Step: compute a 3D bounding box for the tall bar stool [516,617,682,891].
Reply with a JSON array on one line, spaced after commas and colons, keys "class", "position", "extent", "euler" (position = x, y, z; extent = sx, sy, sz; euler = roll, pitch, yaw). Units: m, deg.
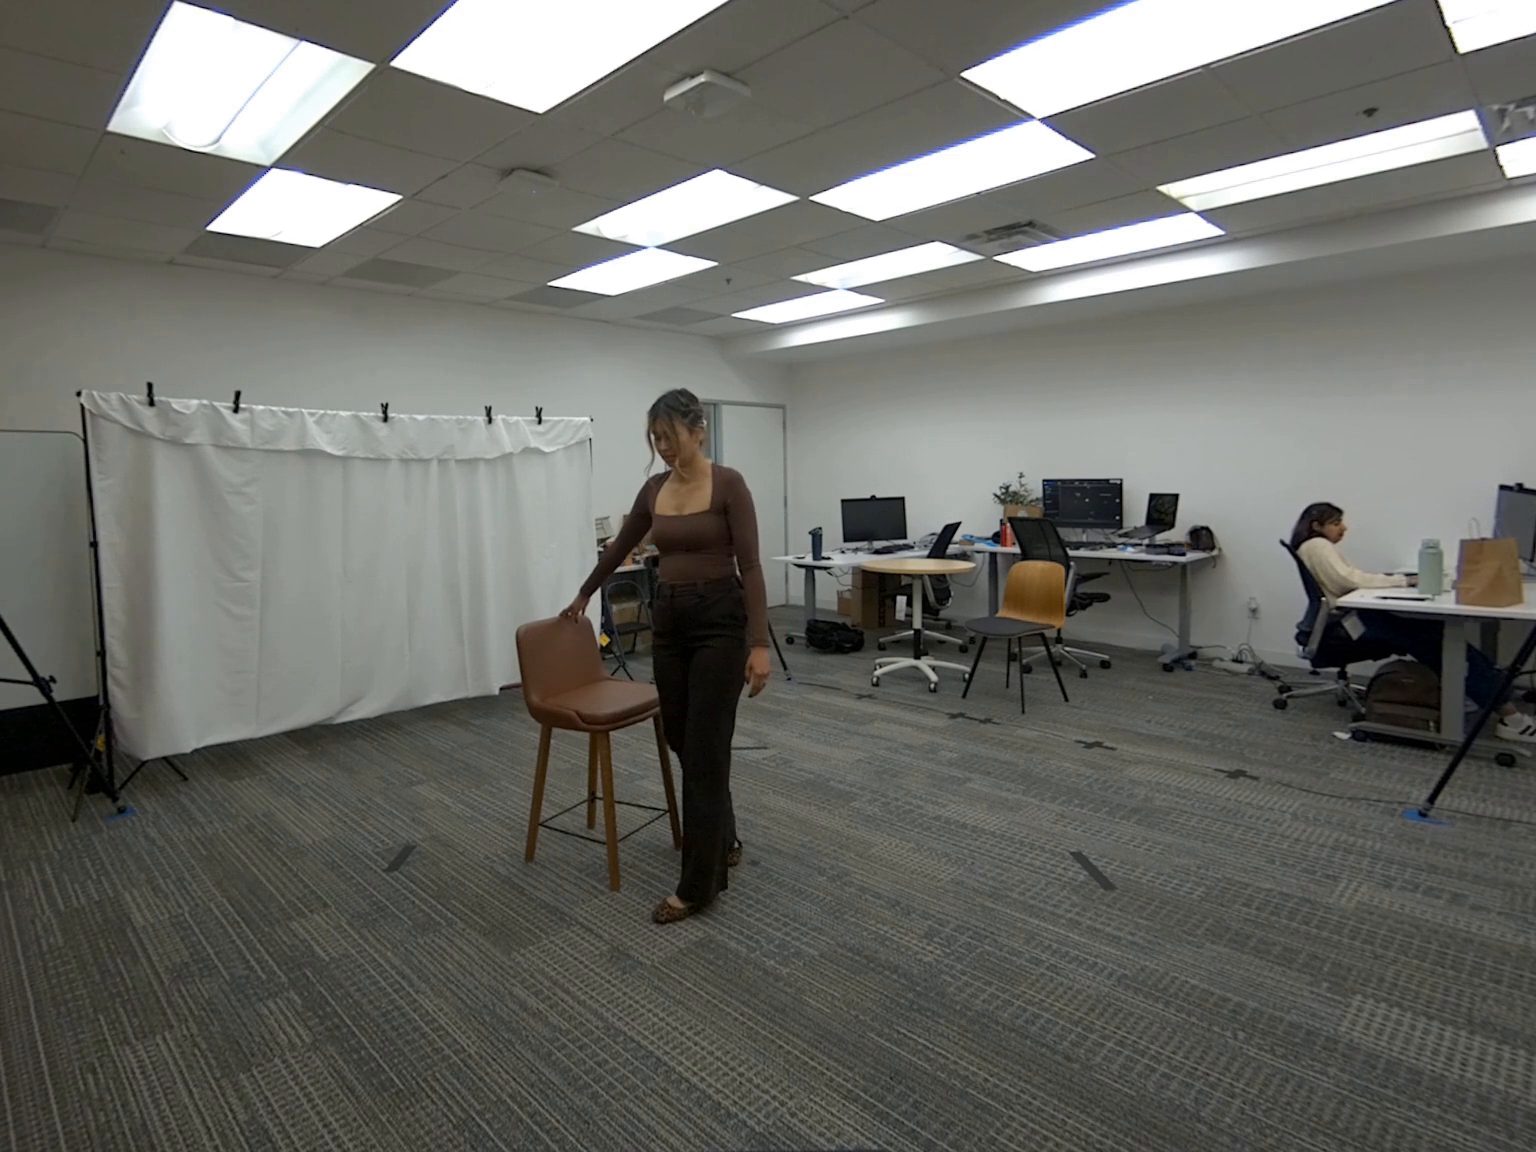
[{"class": "tall bar stool", "position": [-0.626, 0.606, 3.172], "extent": [0.480, 0.887, 0.446], "euler": [-1, 3, 31]}]
